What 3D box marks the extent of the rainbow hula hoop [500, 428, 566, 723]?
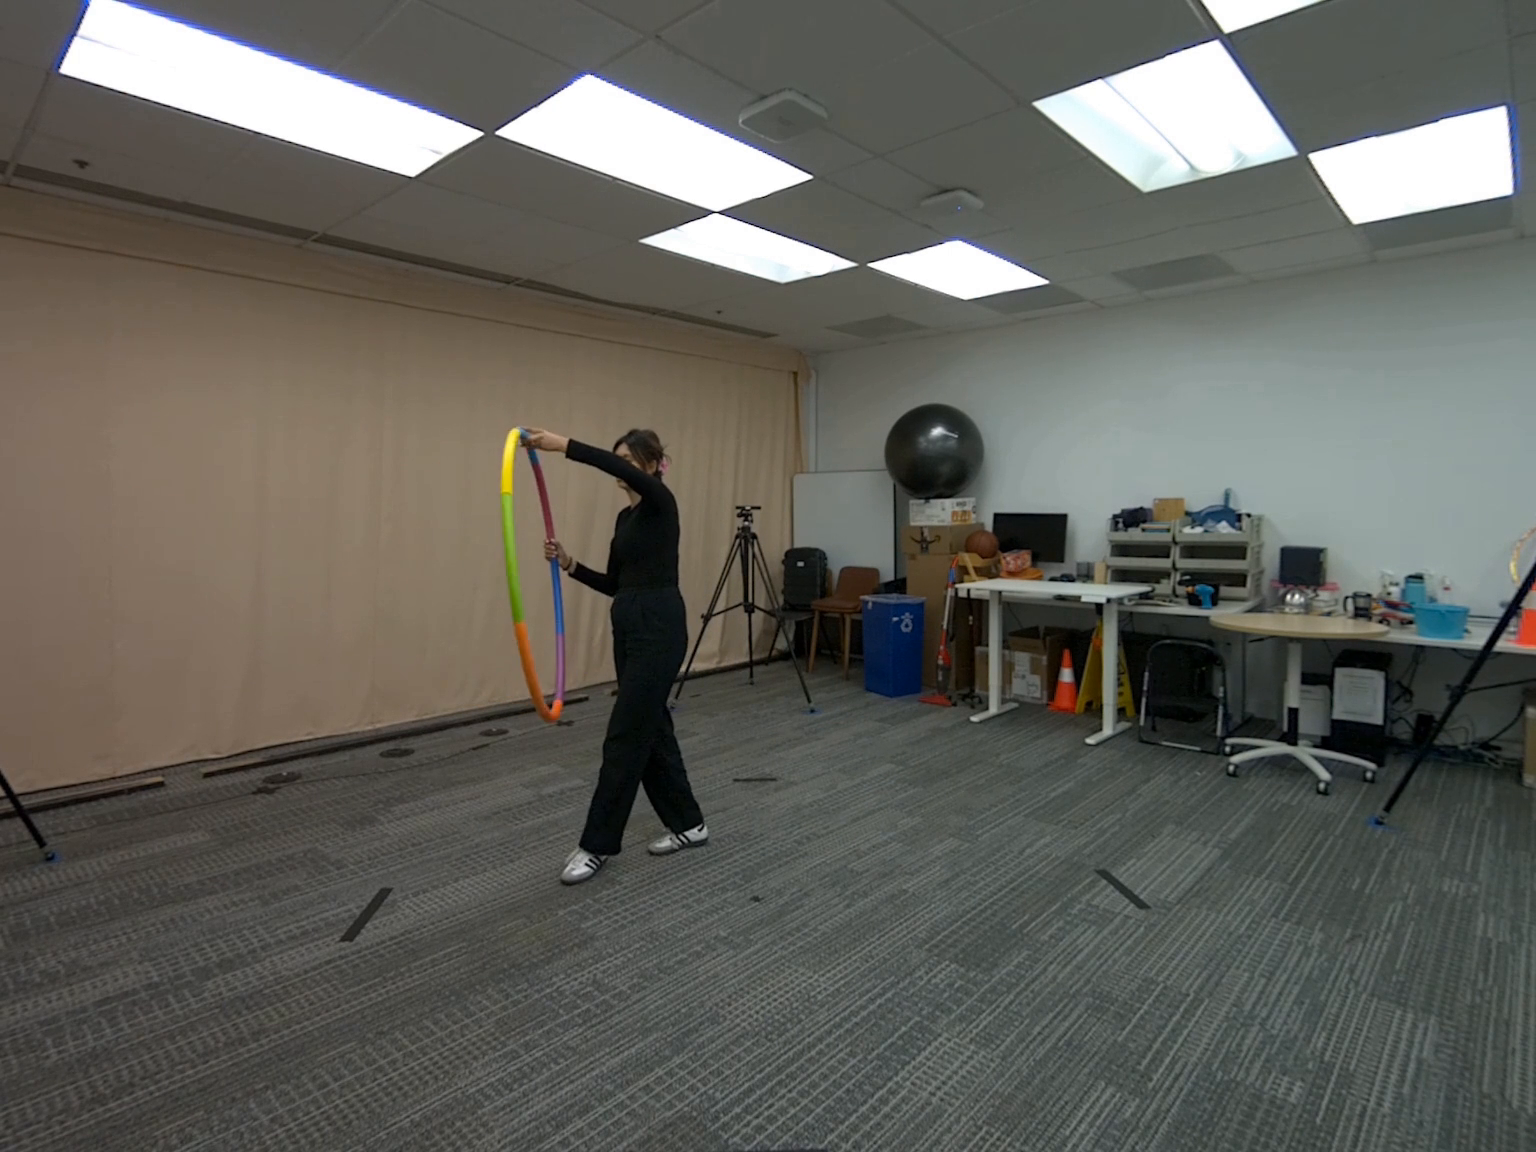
[{"bbox_3d":[-0.779,-0.006,2.851,0.051,0.983,0.991,-5,4,-5],"label":"rainbow hula hoop"}]
